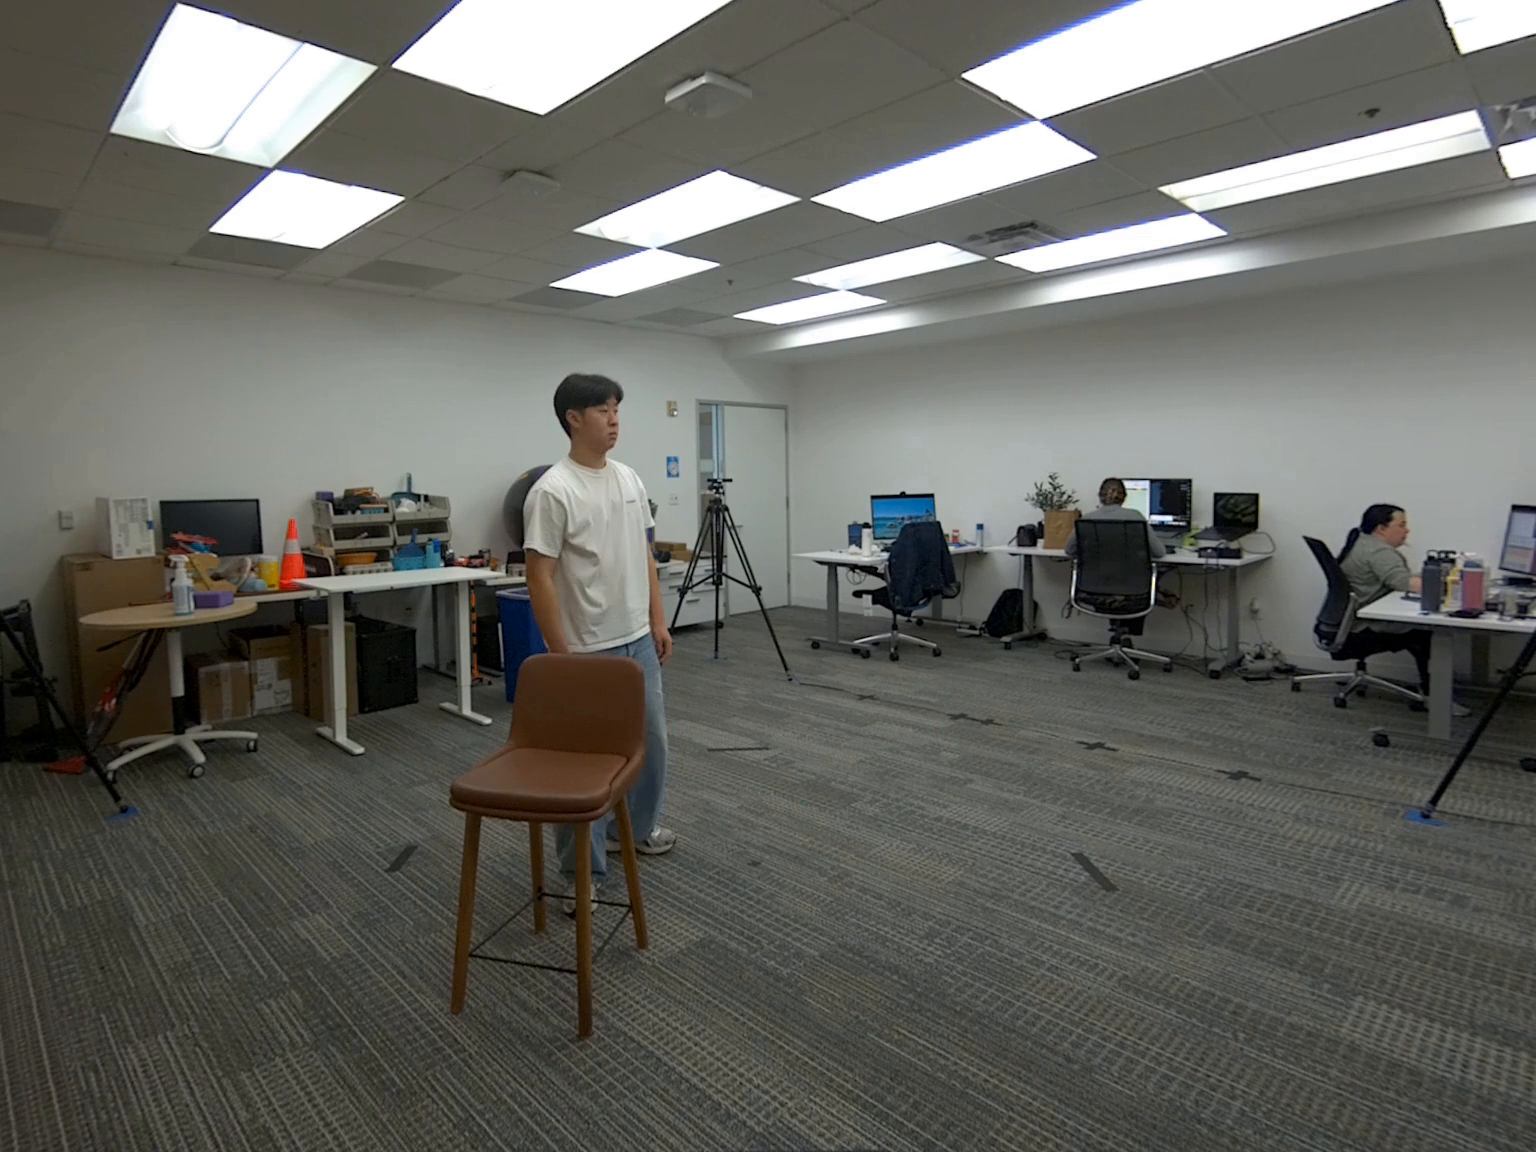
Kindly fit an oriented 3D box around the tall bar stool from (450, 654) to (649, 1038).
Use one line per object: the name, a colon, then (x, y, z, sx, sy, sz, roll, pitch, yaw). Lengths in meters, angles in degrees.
tall bar stool: (-0.599, 0.702, 2.398, 0.464, 0.888, 0.461, 0, 2, 16)
